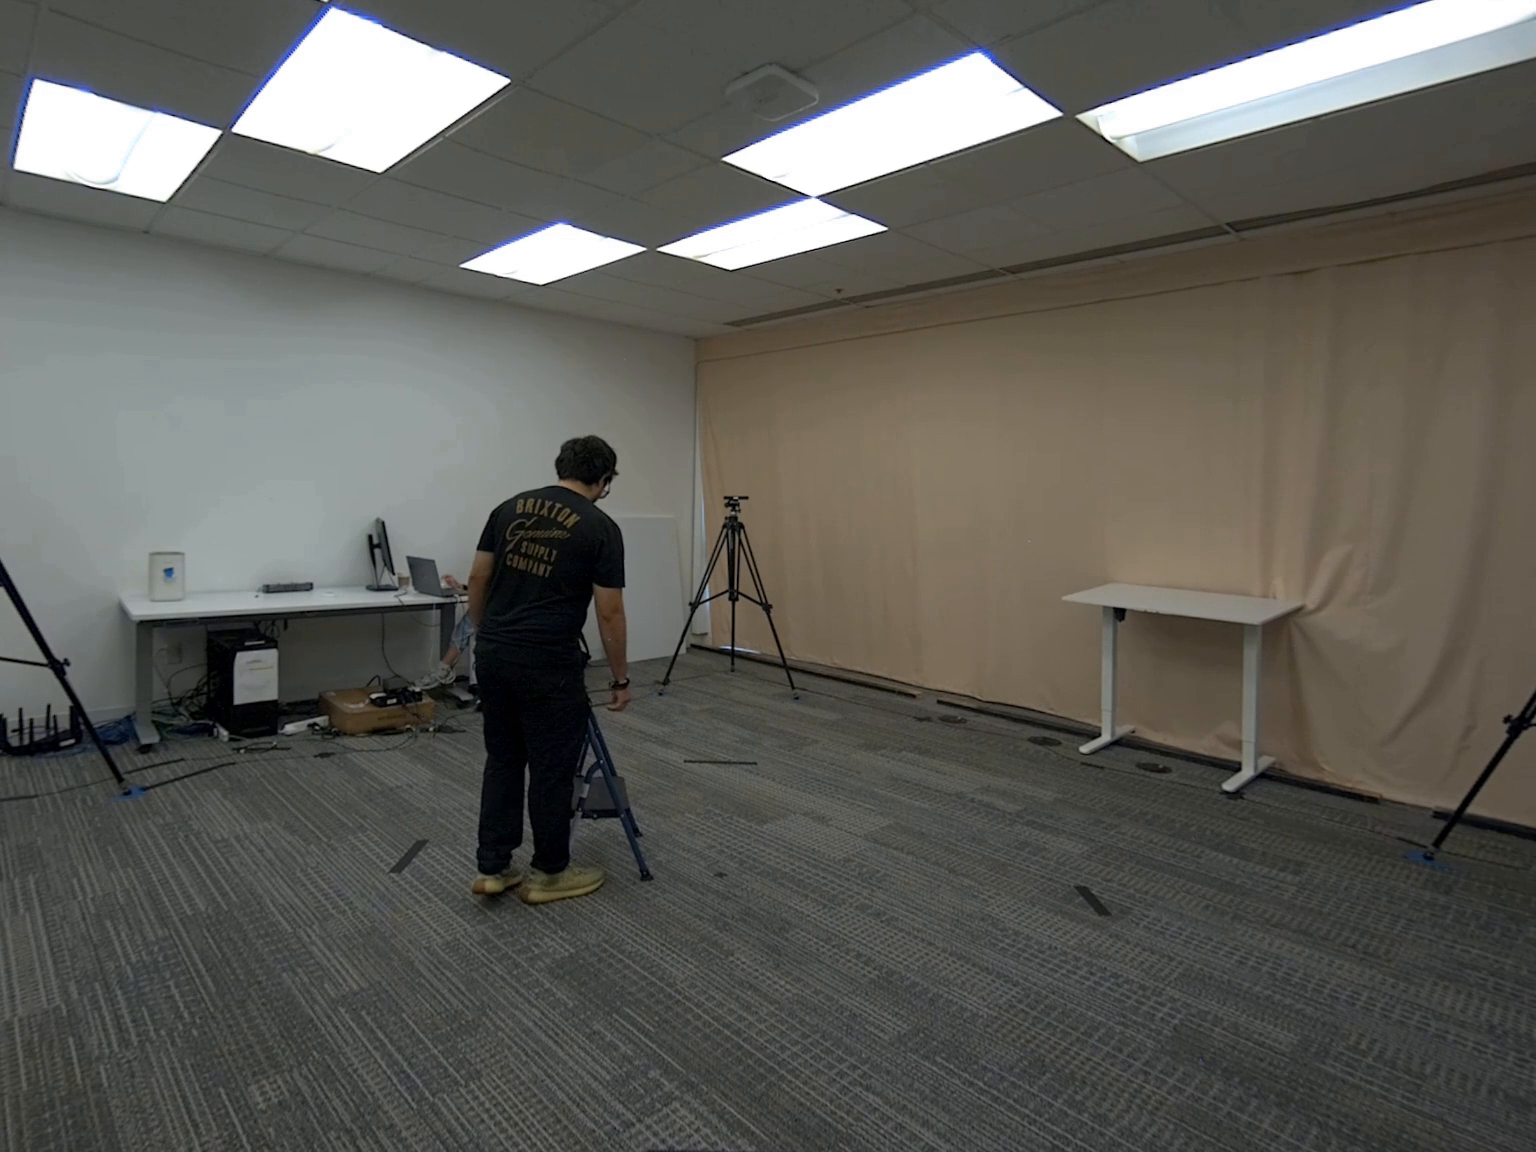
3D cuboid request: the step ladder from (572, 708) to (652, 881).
[{"bbox_3d":[-0.636,0.781,3.211,0.346,0.605,0.436,1,3,-13],"label":"step ladder"}]
